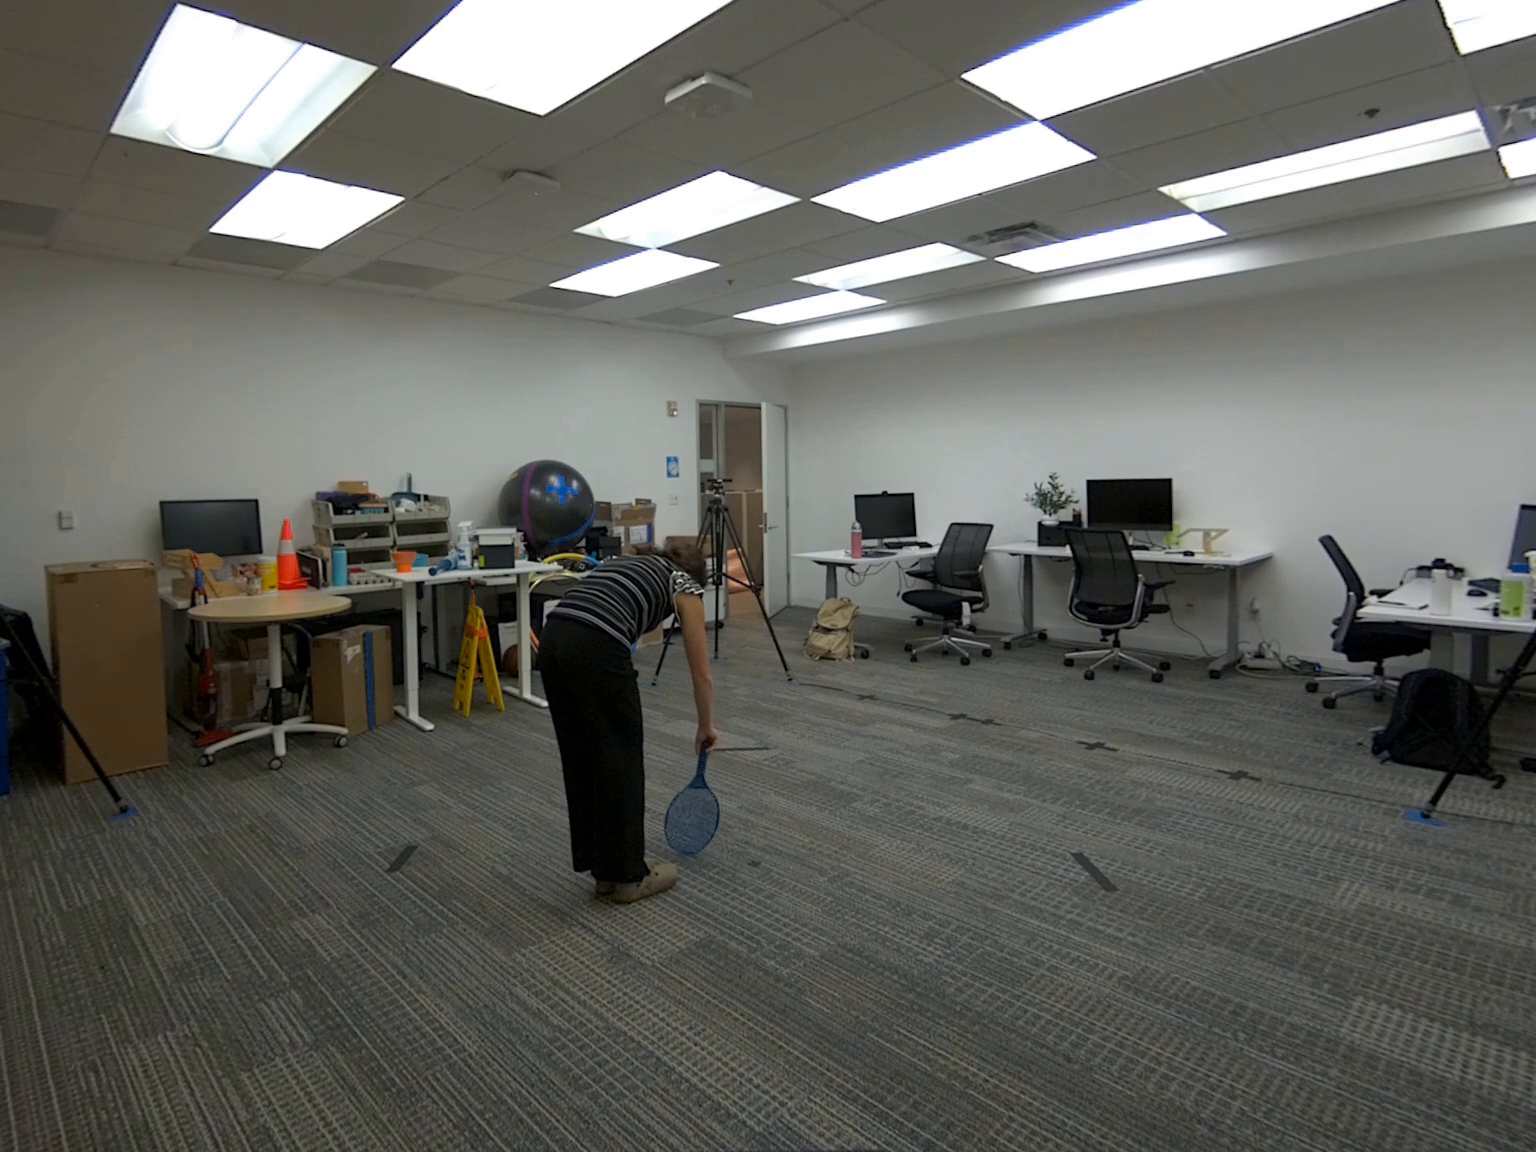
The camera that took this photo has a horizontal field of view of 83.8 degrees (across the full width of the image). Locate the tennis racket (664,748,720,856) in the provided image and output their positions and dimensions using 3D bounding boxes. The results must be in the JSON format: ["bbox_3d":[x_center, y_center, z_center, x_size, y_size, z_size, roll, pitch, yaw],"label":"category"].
[{"bbox_3d":[-0.263,0.825,3.175,0.209,0.432,0.032,9,3,-21],"label":"tennis racket"}]
